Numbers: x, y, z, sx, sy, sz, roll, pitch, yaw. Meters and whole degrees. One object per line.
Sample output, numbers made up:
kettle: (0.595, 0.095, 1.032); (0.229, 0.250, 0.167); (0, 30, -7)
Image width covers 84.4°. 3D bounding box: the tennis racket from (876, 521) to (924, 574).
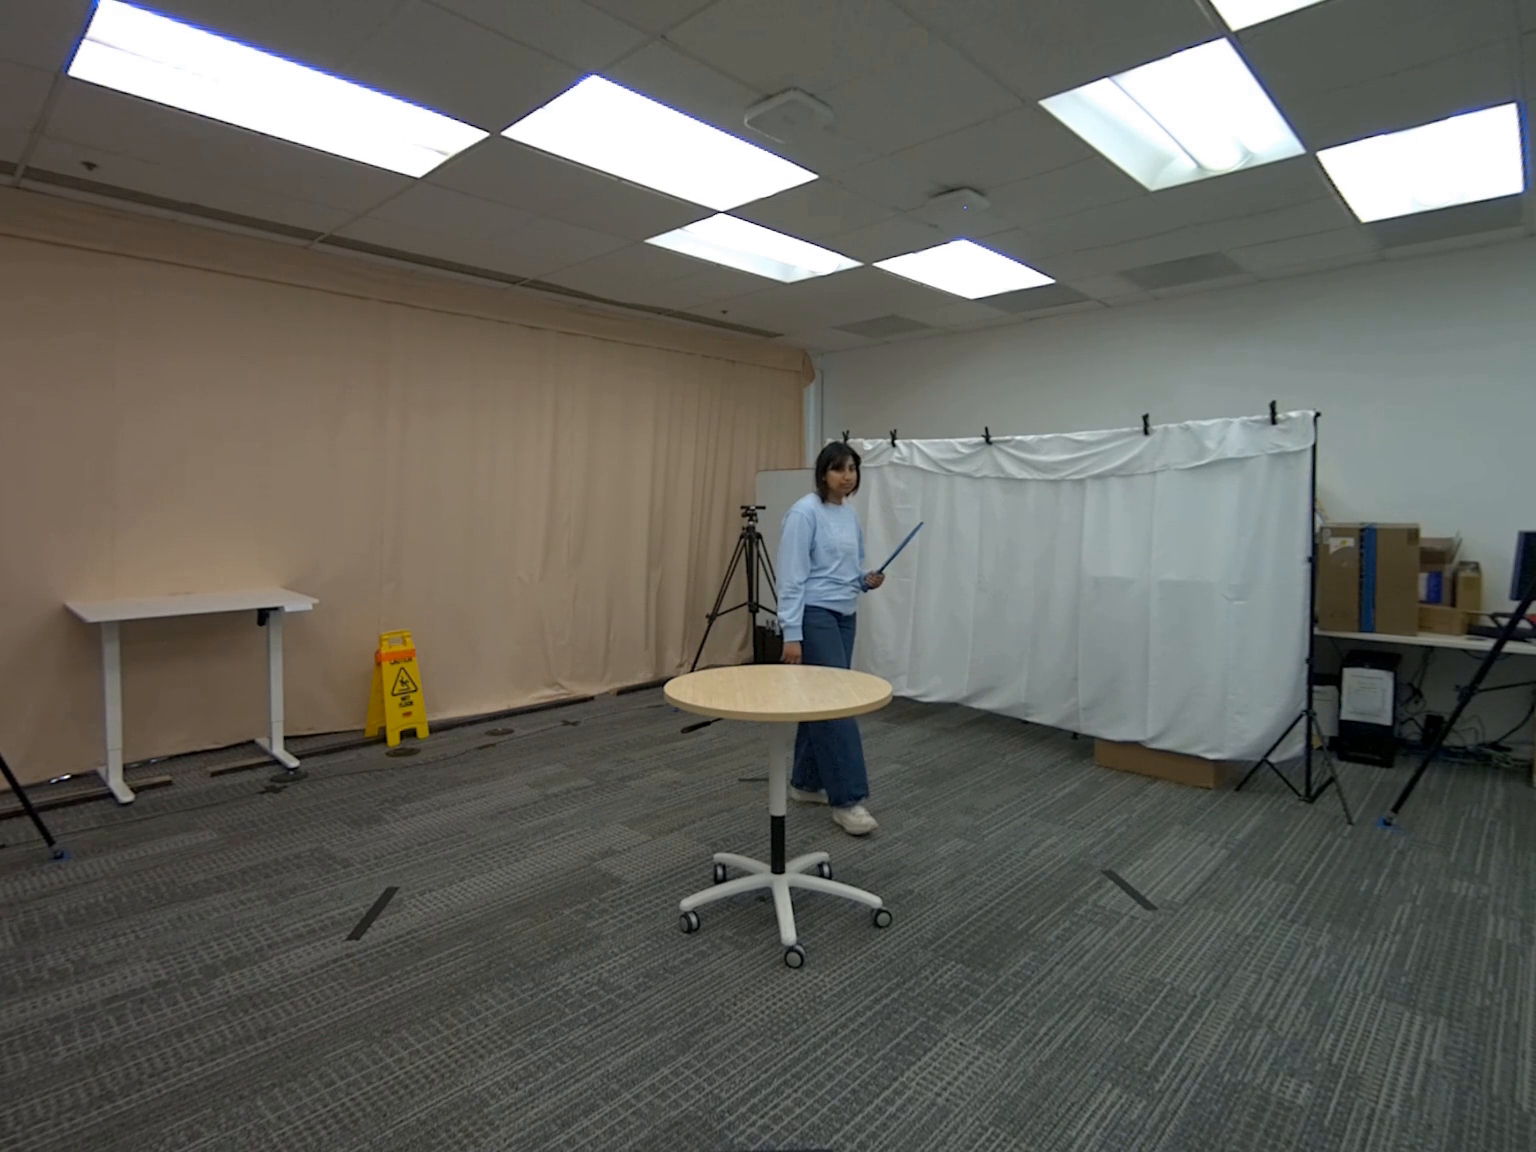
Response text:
tennis racket: (0.534, -0.083, 3.718); (0.032, 0.434, 0.211); (40, 31, 4)
